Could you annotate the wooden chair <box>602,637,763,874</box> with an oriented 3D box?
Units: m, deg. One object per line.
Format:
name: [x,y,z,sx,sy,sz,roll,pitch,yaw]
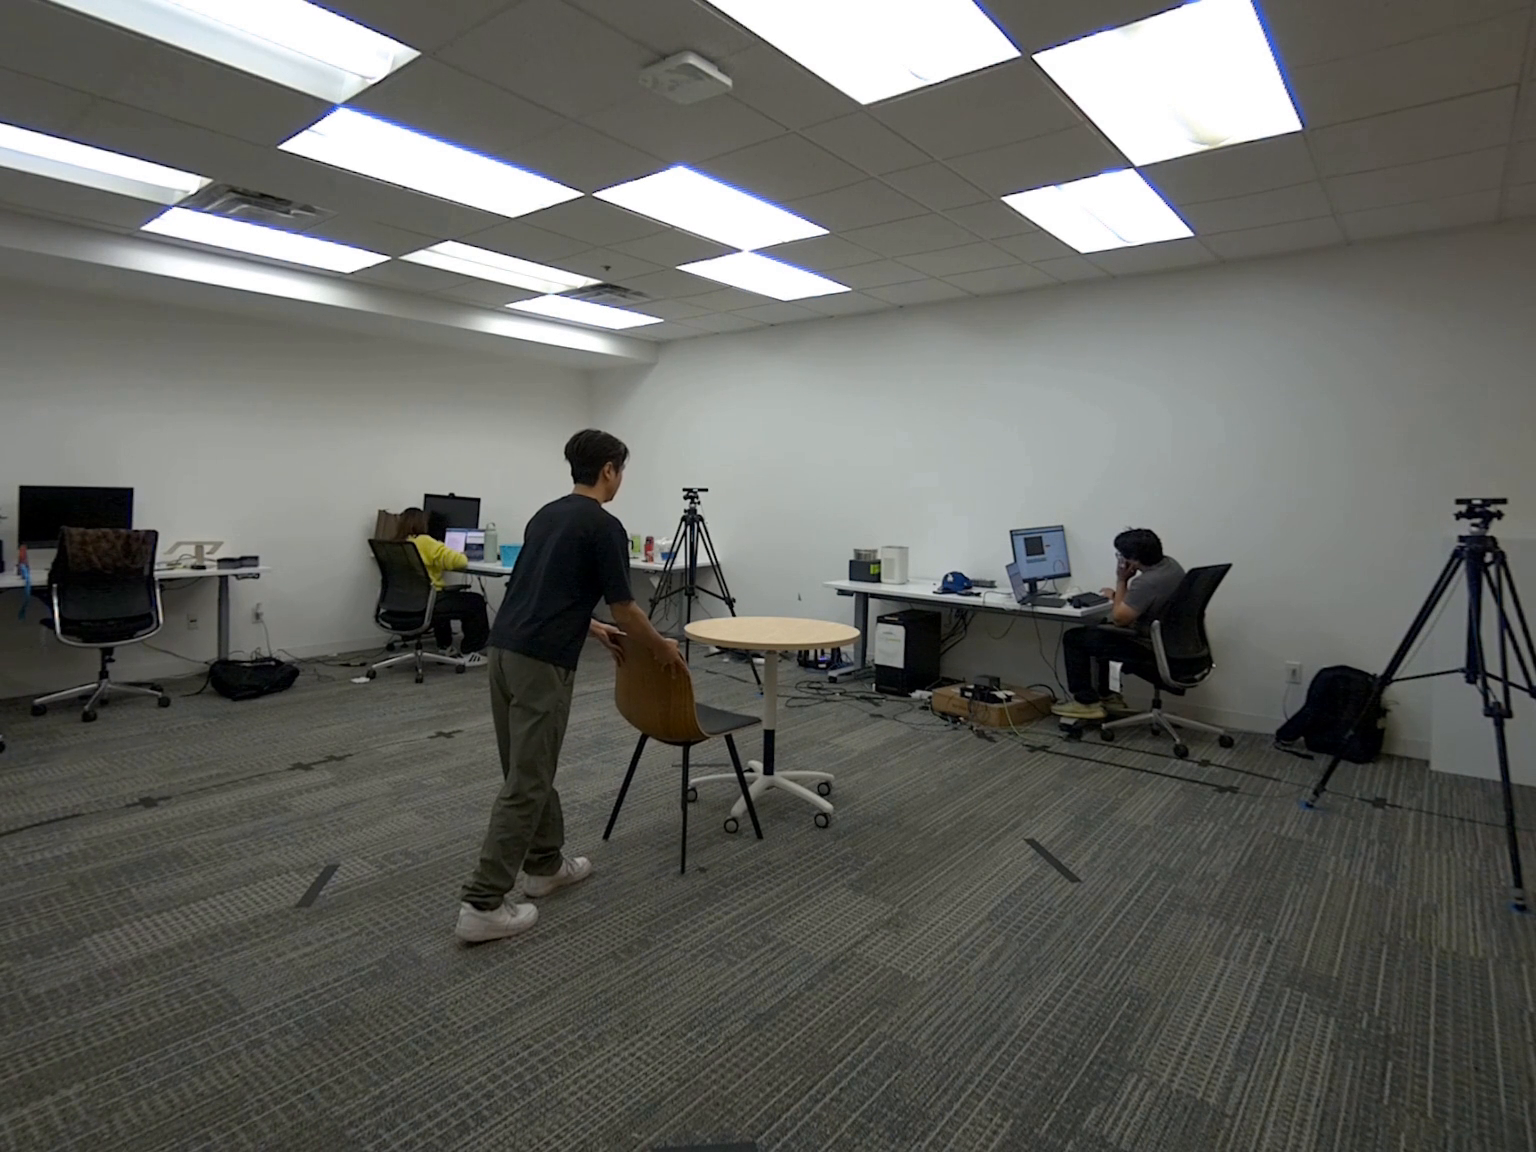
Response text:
wooden chair: [-0.334,0.616,3.349,0.494,0.872,0.509,4,8,41]
